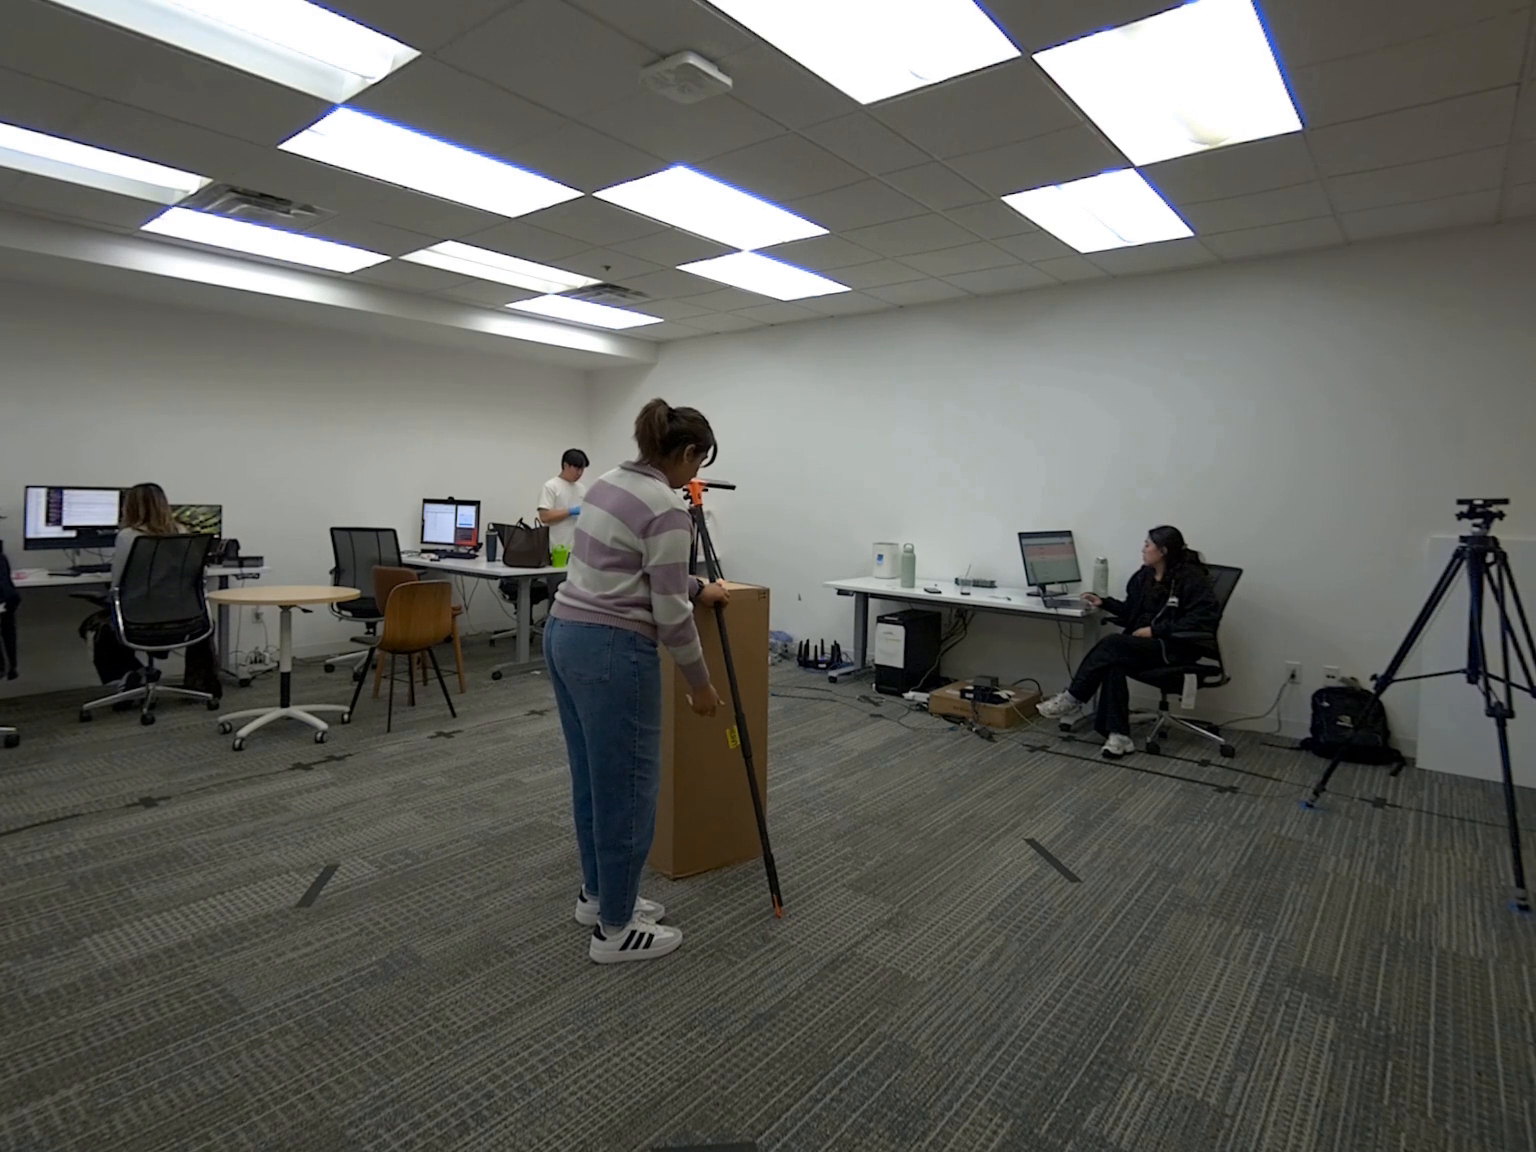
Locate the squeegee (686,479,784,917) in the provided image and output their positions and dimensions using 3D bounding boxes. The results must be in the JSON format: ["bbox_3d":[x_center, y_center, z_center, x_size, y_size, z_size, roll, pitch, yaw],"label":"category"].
[{"bbox_3d":[-0.118,0.360,2.958,0.054,1.564,0.423,-26,-18,39],"label":"squeegee"}]
